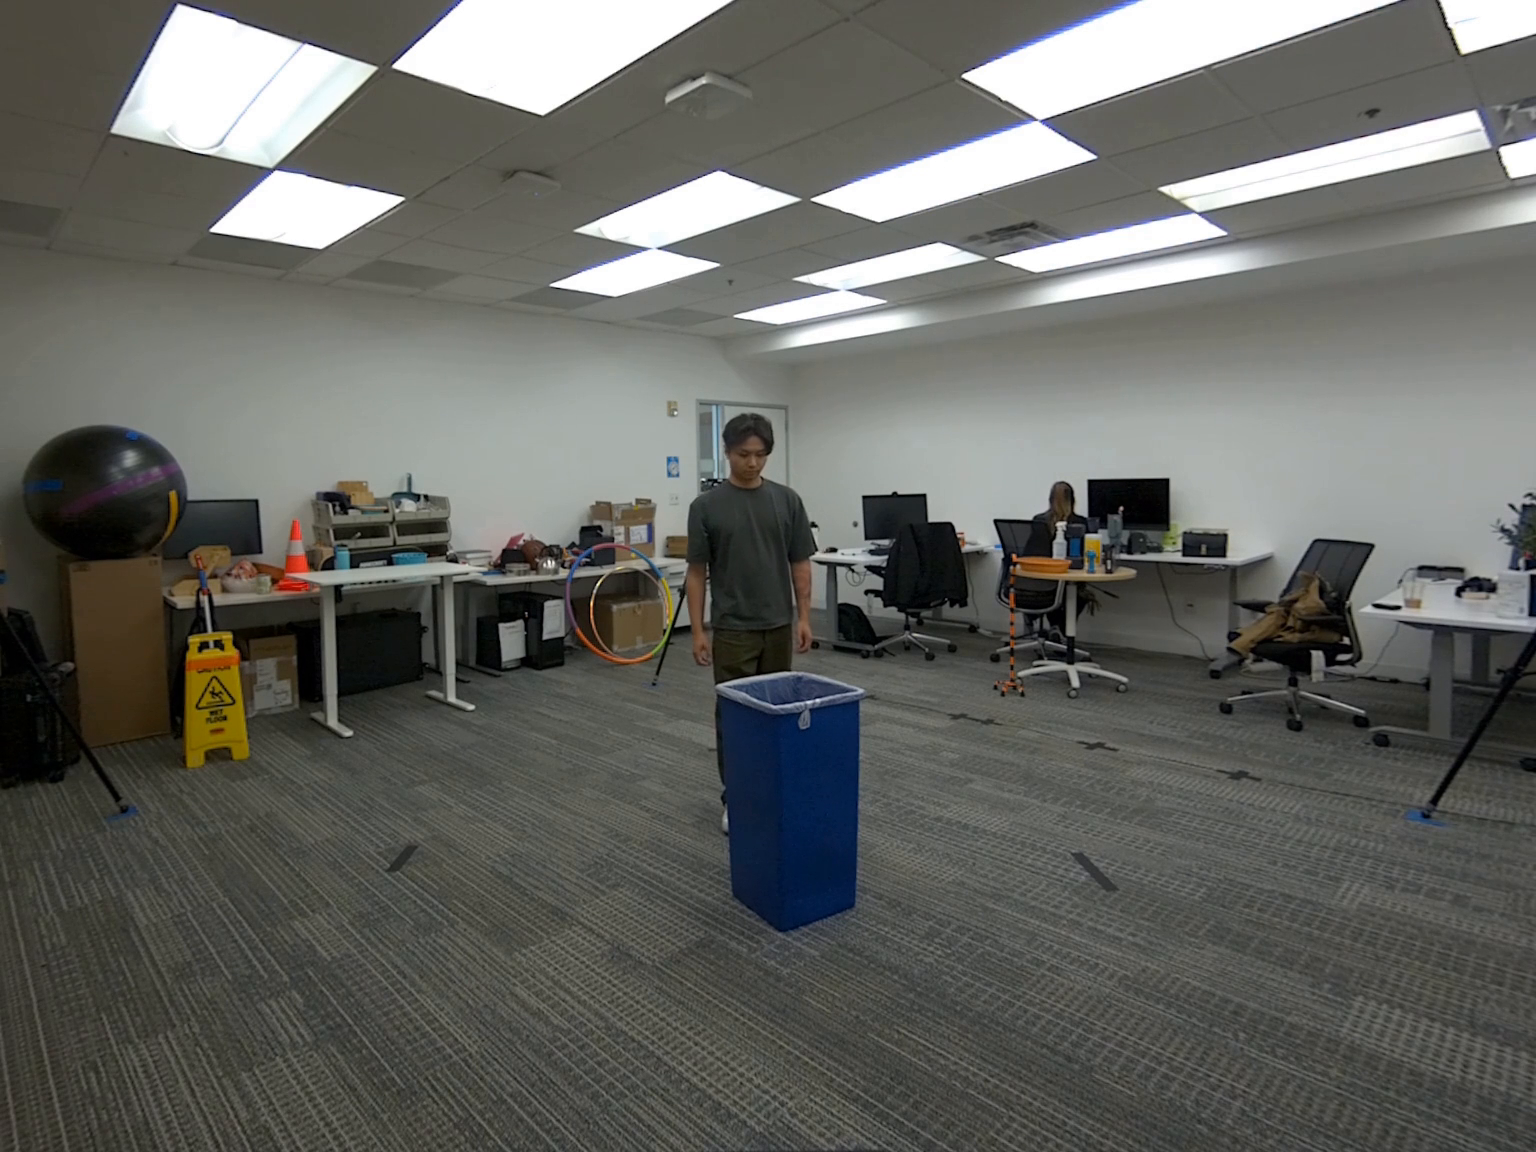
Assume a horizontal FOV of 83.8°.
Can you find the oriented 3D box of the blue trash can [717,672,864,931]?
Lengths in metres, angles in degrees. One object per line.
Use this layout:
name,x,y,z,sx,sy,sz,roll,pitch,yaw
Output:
blue trash can,0.071,0.722,2.804,0.364,0.712,0.389,-3,4,-35
